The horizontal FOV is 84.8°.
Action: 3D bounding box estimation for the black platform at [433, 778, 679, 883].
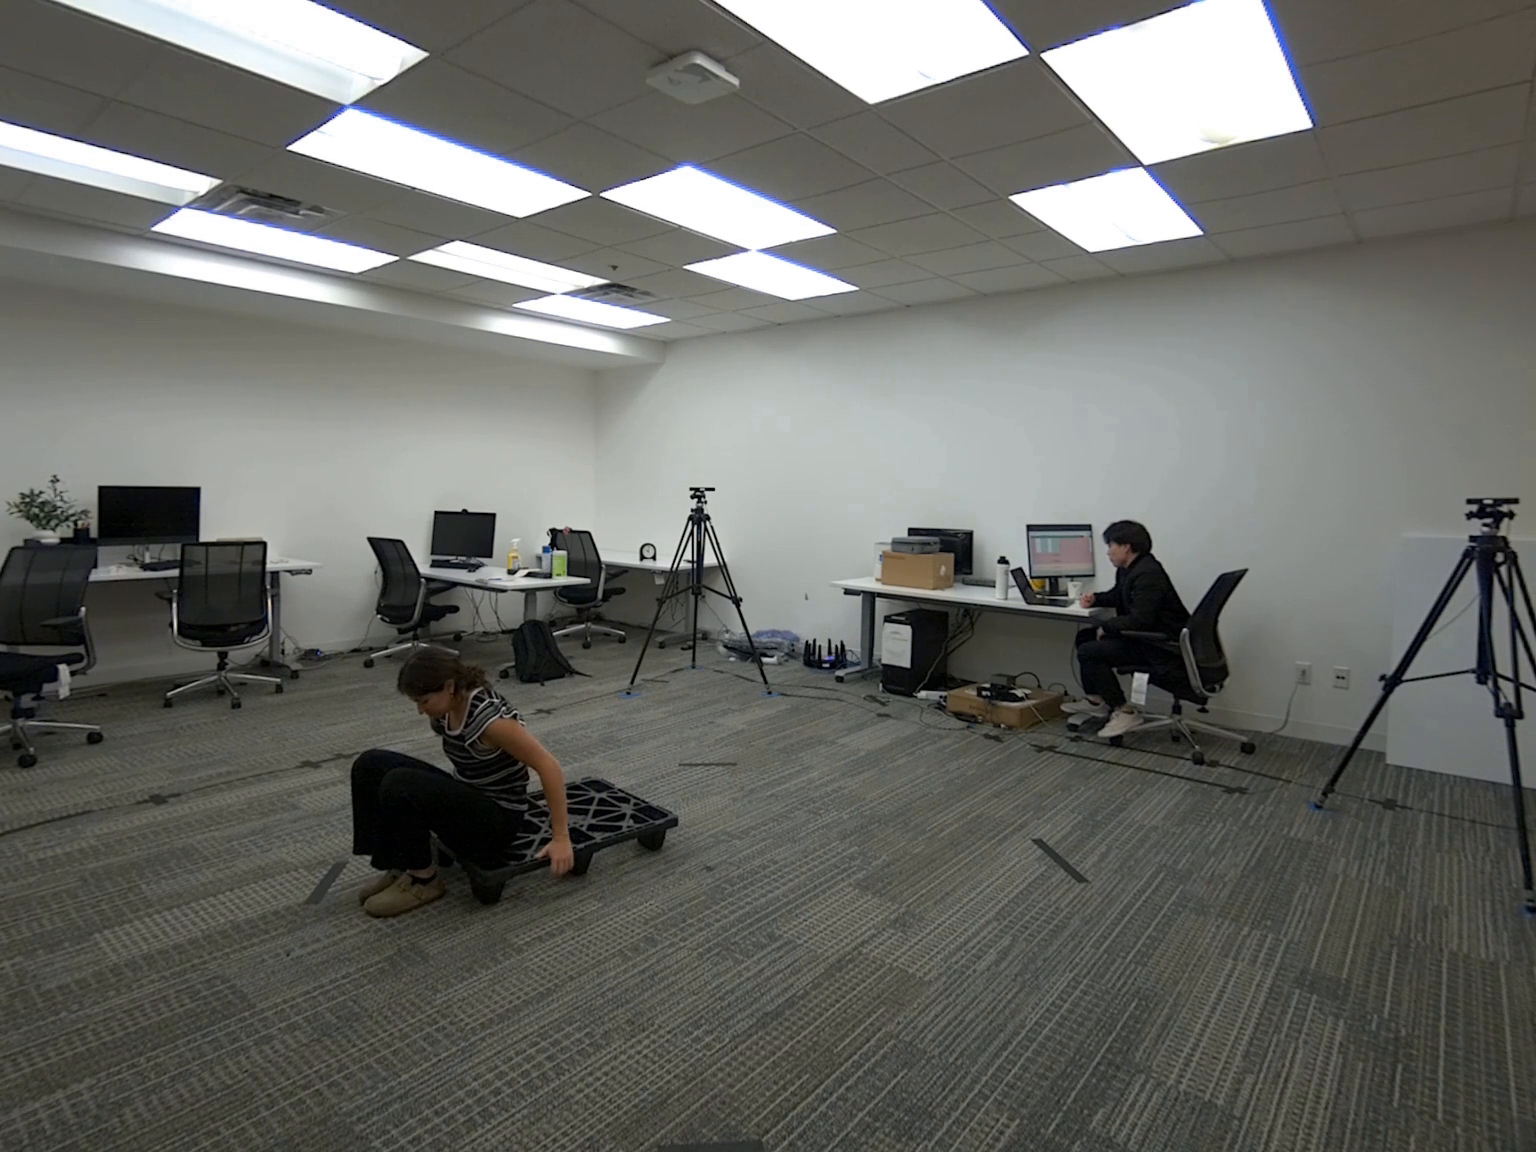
[{"bbox_3d":[-0.842,0.977,3.214,0.781,0.143,0.626,-5,7,-42],"label":"black platform"}]
